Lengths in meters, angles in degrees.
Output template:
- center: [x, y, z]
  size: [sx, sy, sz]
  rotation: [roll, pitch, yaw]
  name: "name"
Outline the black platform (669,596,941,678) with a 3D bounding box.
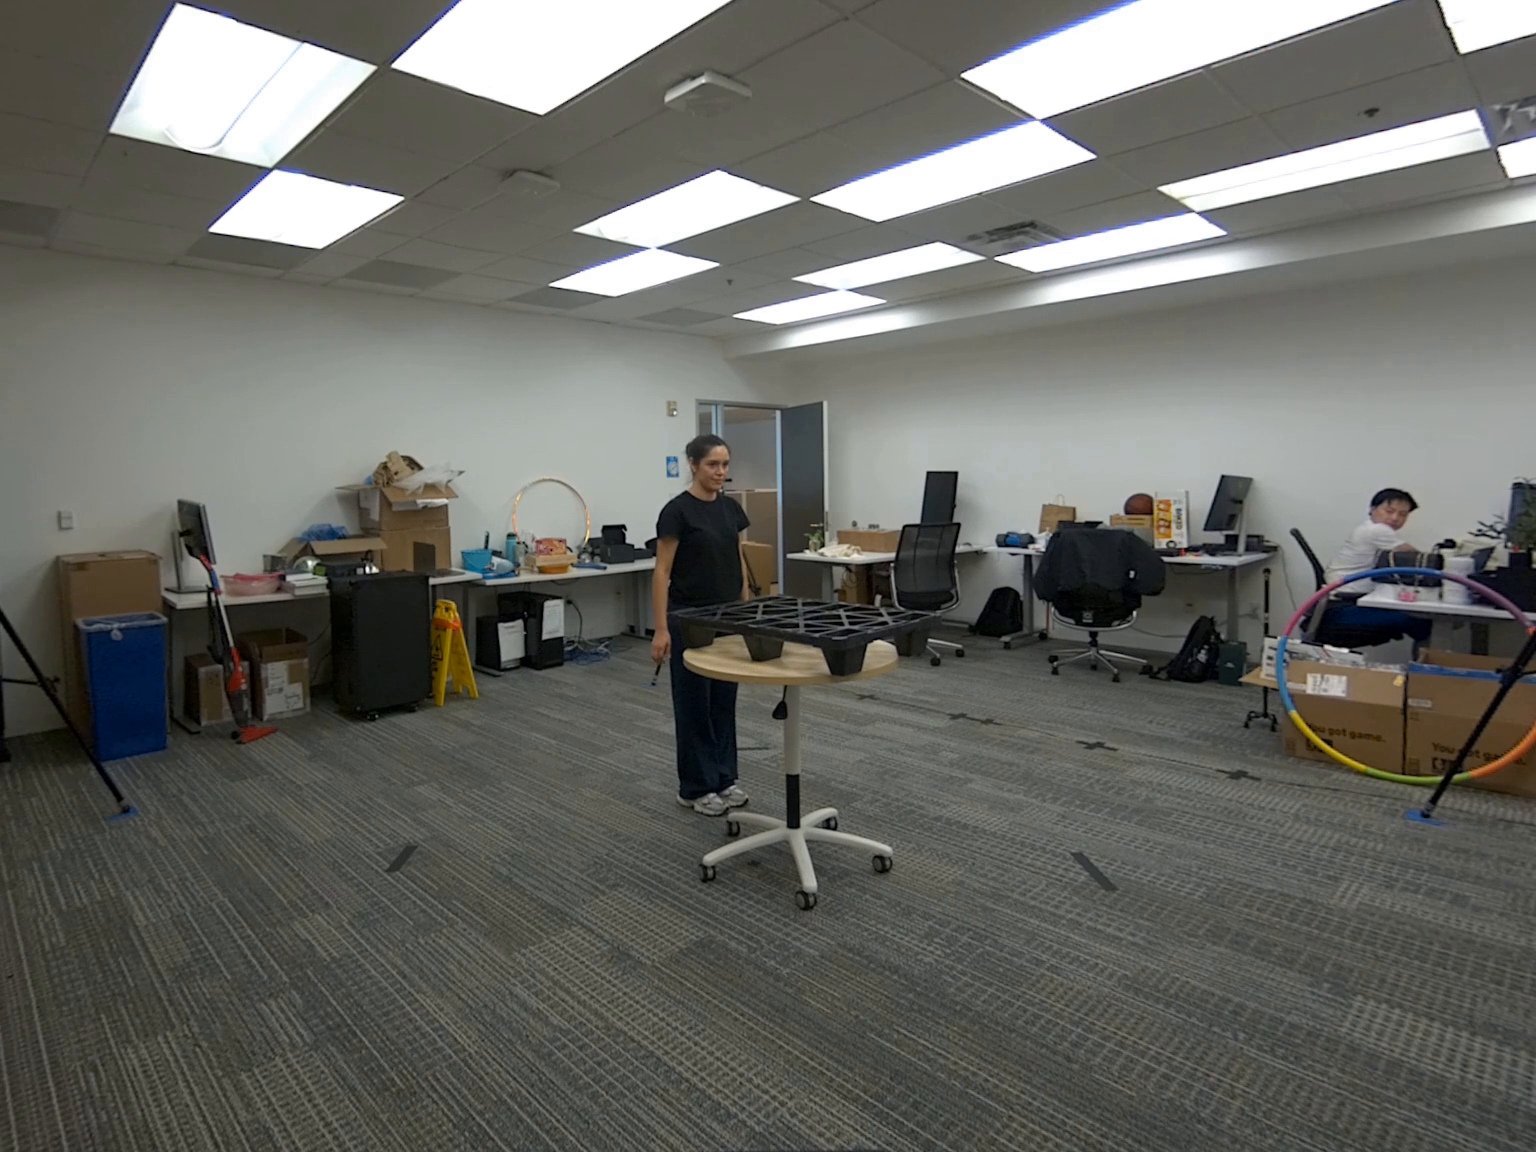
- center: [0.119, 0.199, 3.073]
  size: [0.831, 0.142, 0.589]
  rotation: [5, 9, 44]
  name: "black platform"
